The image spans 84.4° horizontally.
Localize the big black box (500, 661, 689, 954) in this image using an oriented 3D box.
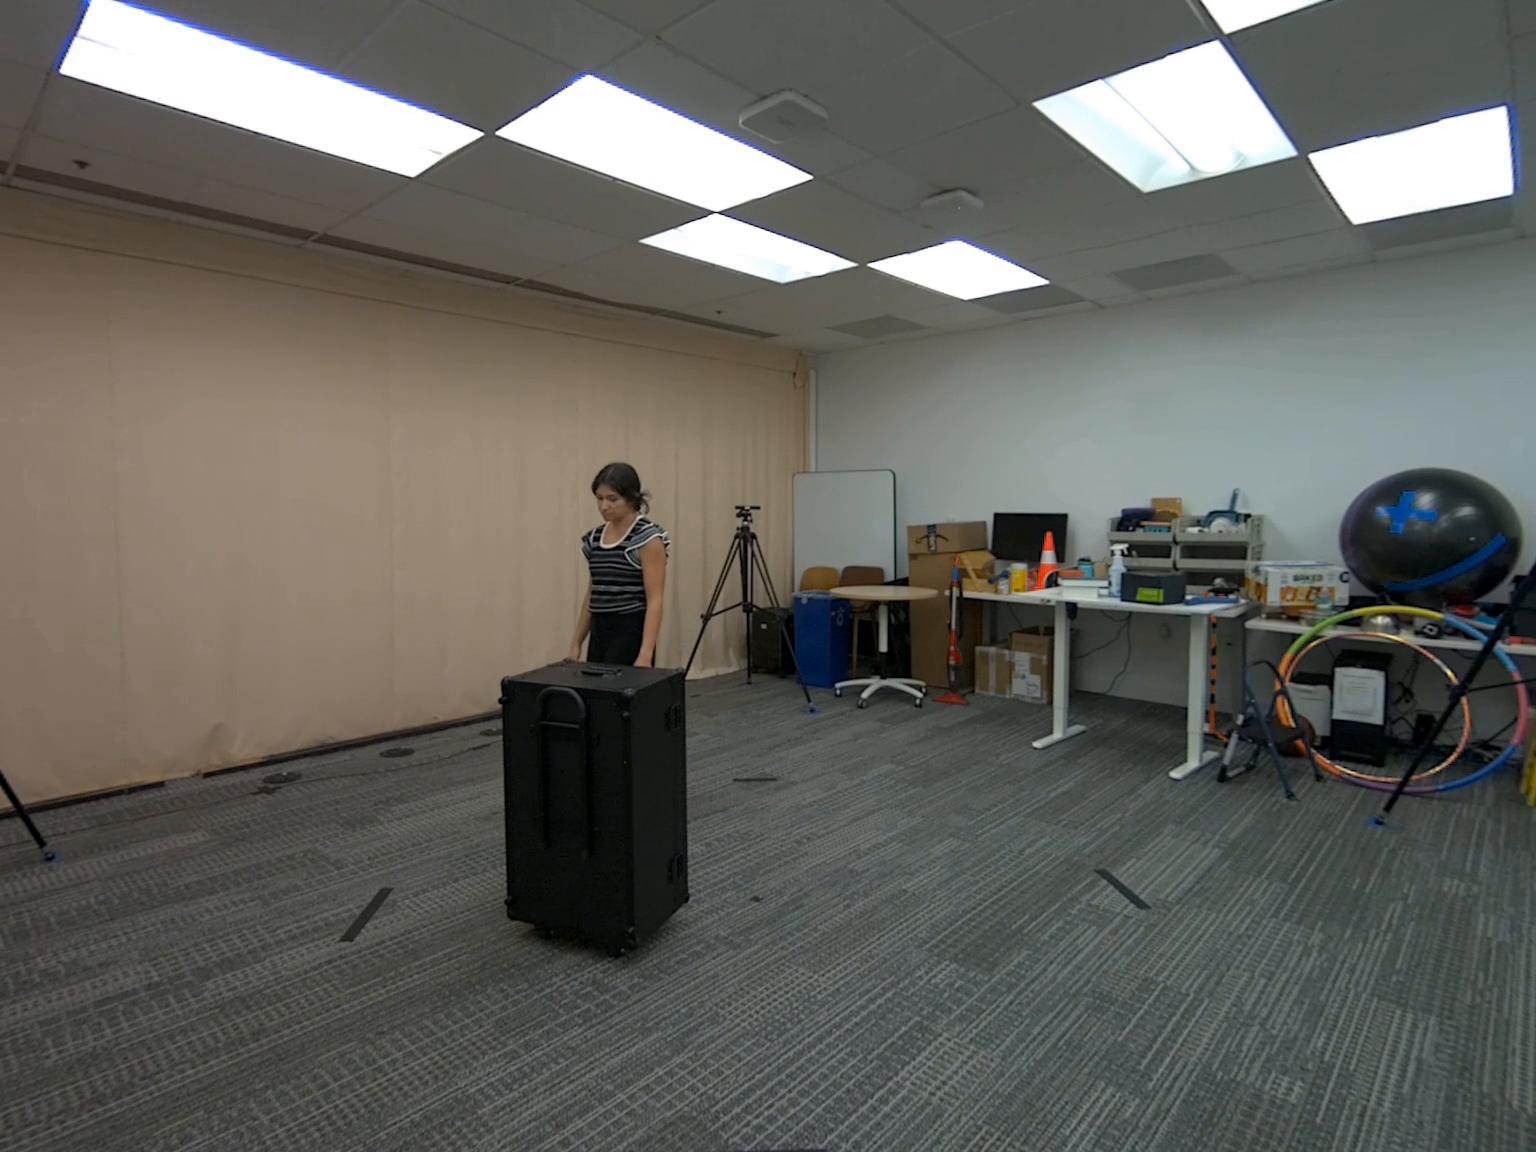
[{"bbox_3d":[-0.551,0.745,2.735,0.534,0.859,0.387,1,5,25],"label":"big black box"}]
